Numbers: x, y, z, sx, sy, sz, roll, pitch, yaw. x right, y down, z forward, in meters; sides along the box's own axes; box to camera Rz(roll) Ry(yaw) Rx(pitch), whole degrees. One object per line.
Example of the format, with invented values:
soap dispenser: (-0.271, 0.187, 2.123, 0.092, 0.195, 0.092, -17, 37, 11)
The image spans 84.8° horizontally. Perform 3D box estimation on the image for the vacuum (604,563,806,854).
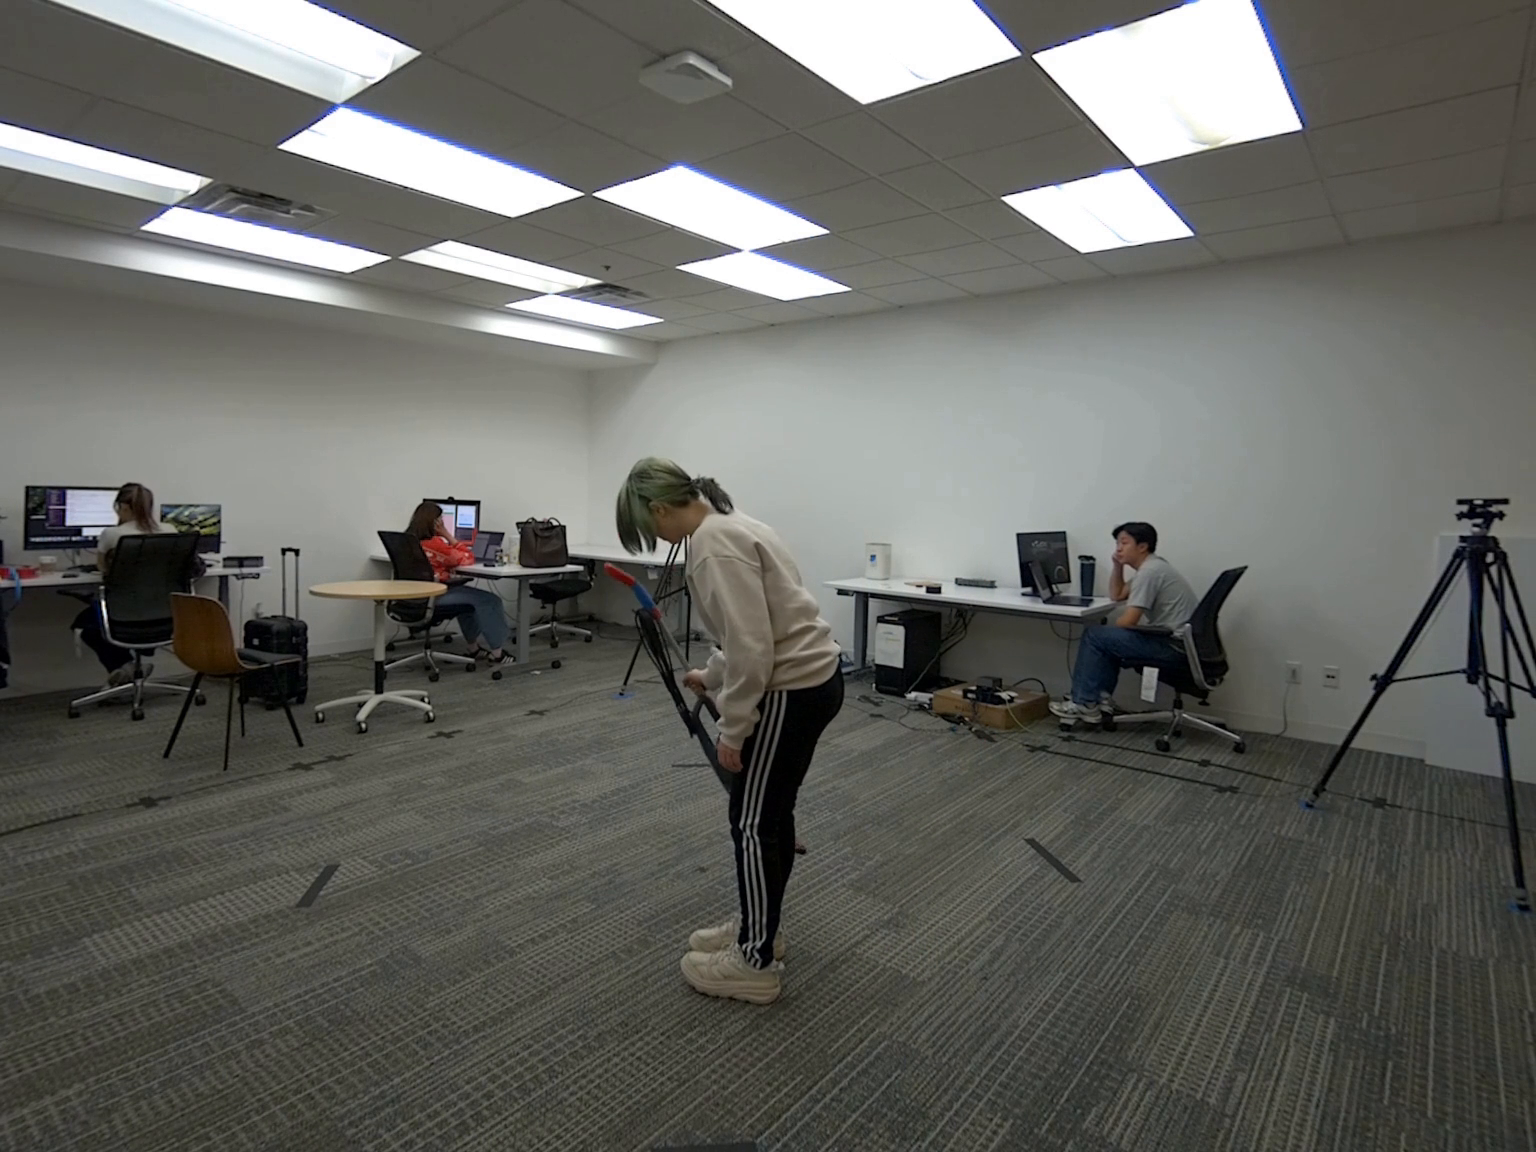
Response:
vacuum: (-0.249, 0.414, 2.748, 0.143, 1.039, 0.257, -32, 8, -21)
